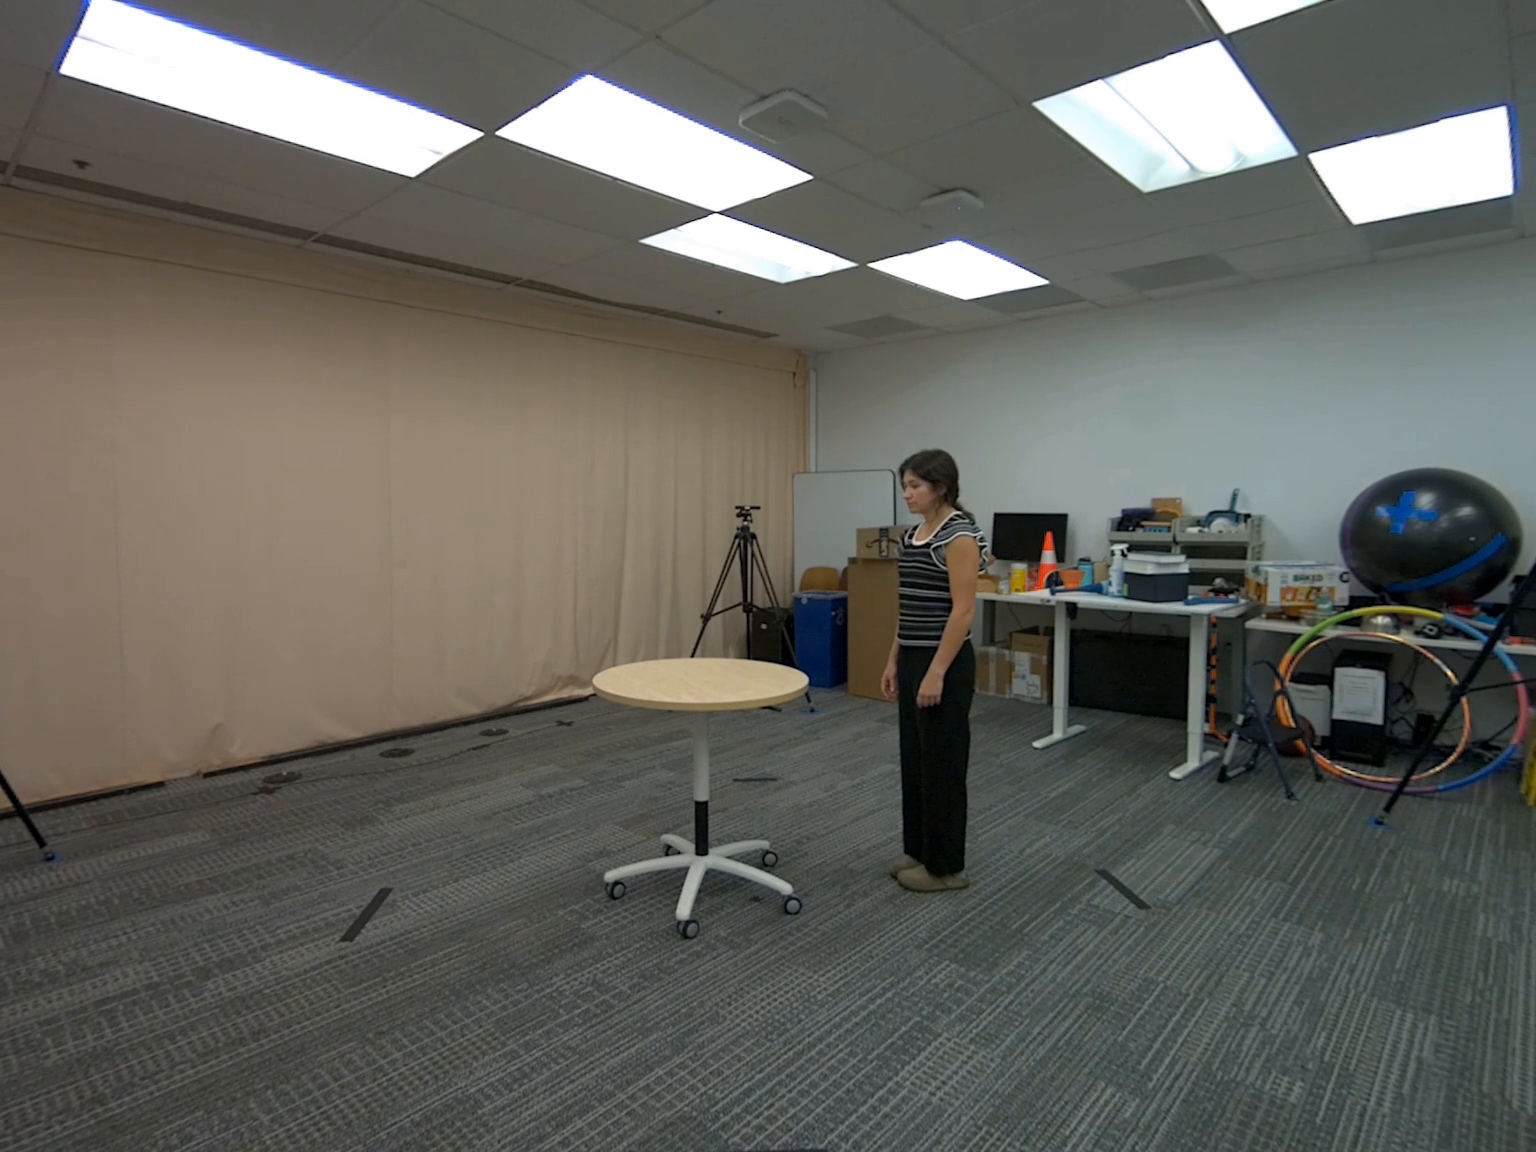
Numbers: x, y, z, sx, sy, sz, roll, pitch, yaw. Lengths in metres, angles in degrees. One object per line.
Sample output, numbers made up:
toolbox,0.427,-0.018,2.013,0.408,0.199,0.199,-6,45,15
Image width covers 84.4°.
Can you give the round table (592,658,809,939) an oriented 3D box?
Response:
round table,-0.235,0.759,3.022,0.763,0.792,0.766,0,3,-2
